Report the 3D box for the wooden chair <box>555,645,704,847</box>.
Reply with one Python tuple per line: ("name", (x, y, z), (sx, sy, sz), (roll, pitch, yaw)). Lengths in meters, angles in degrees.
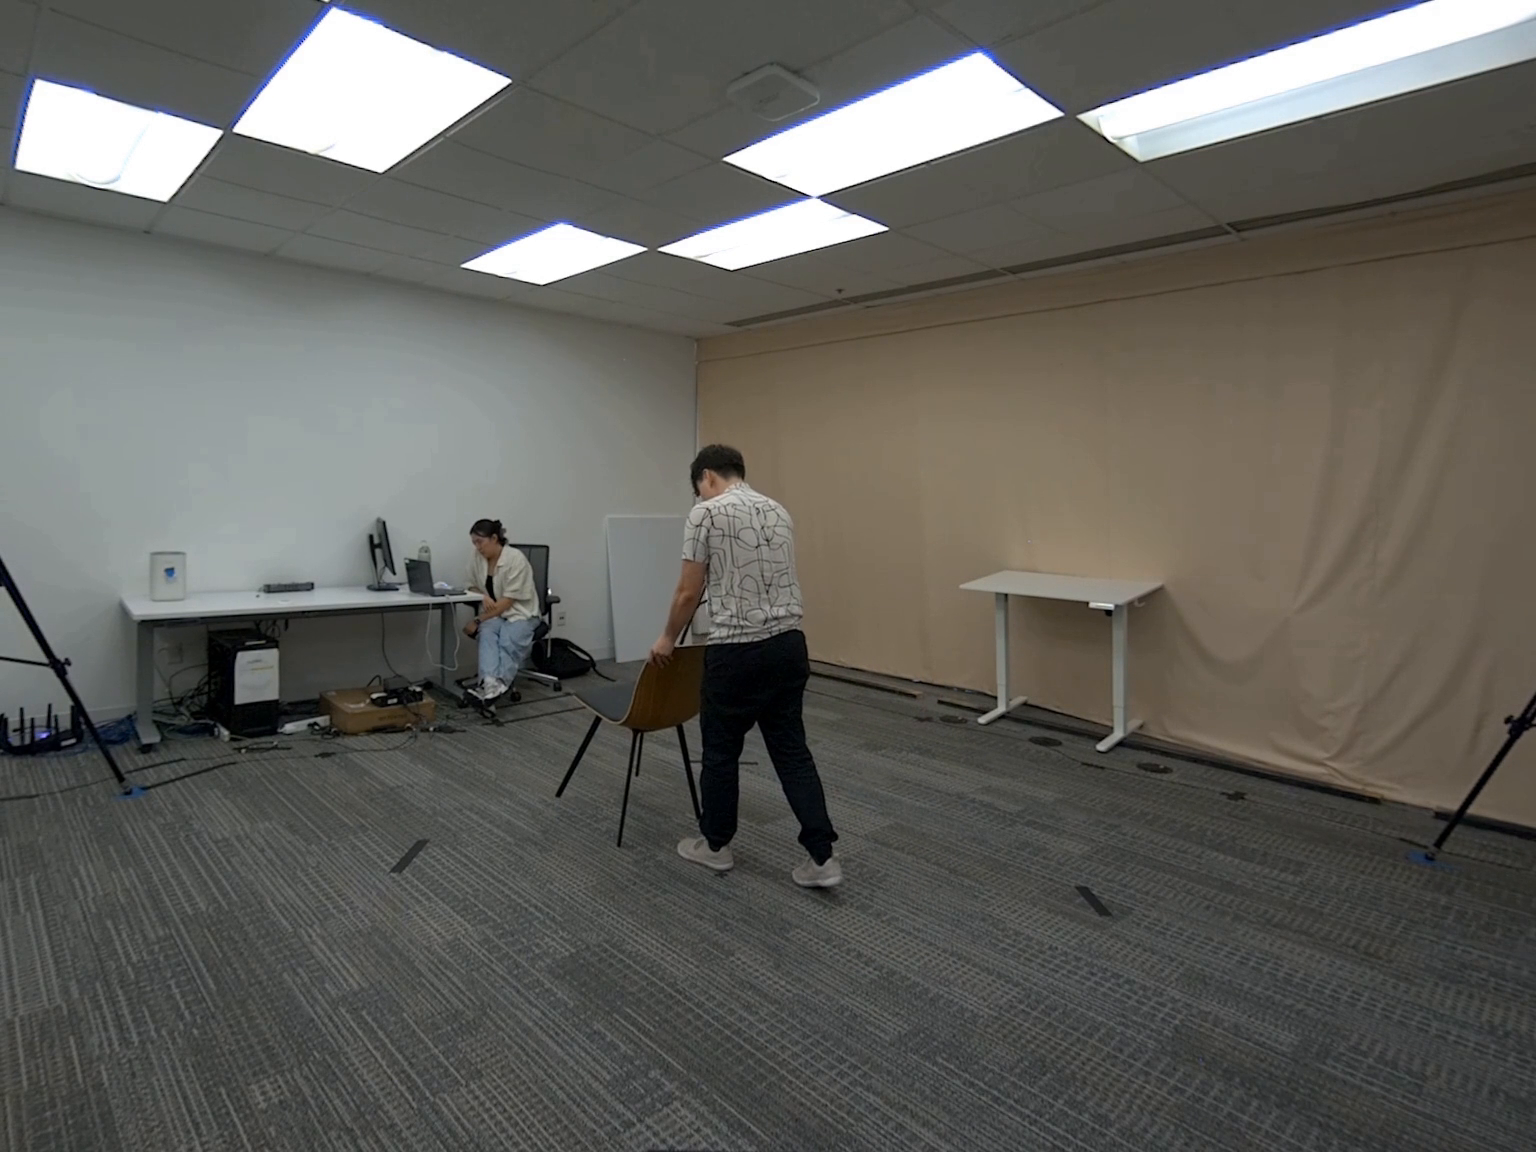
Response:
("wooden chair", (-0.542, 0.591, 3.557), (0.539, 0.871, 0.467), (25, 18, 40))
